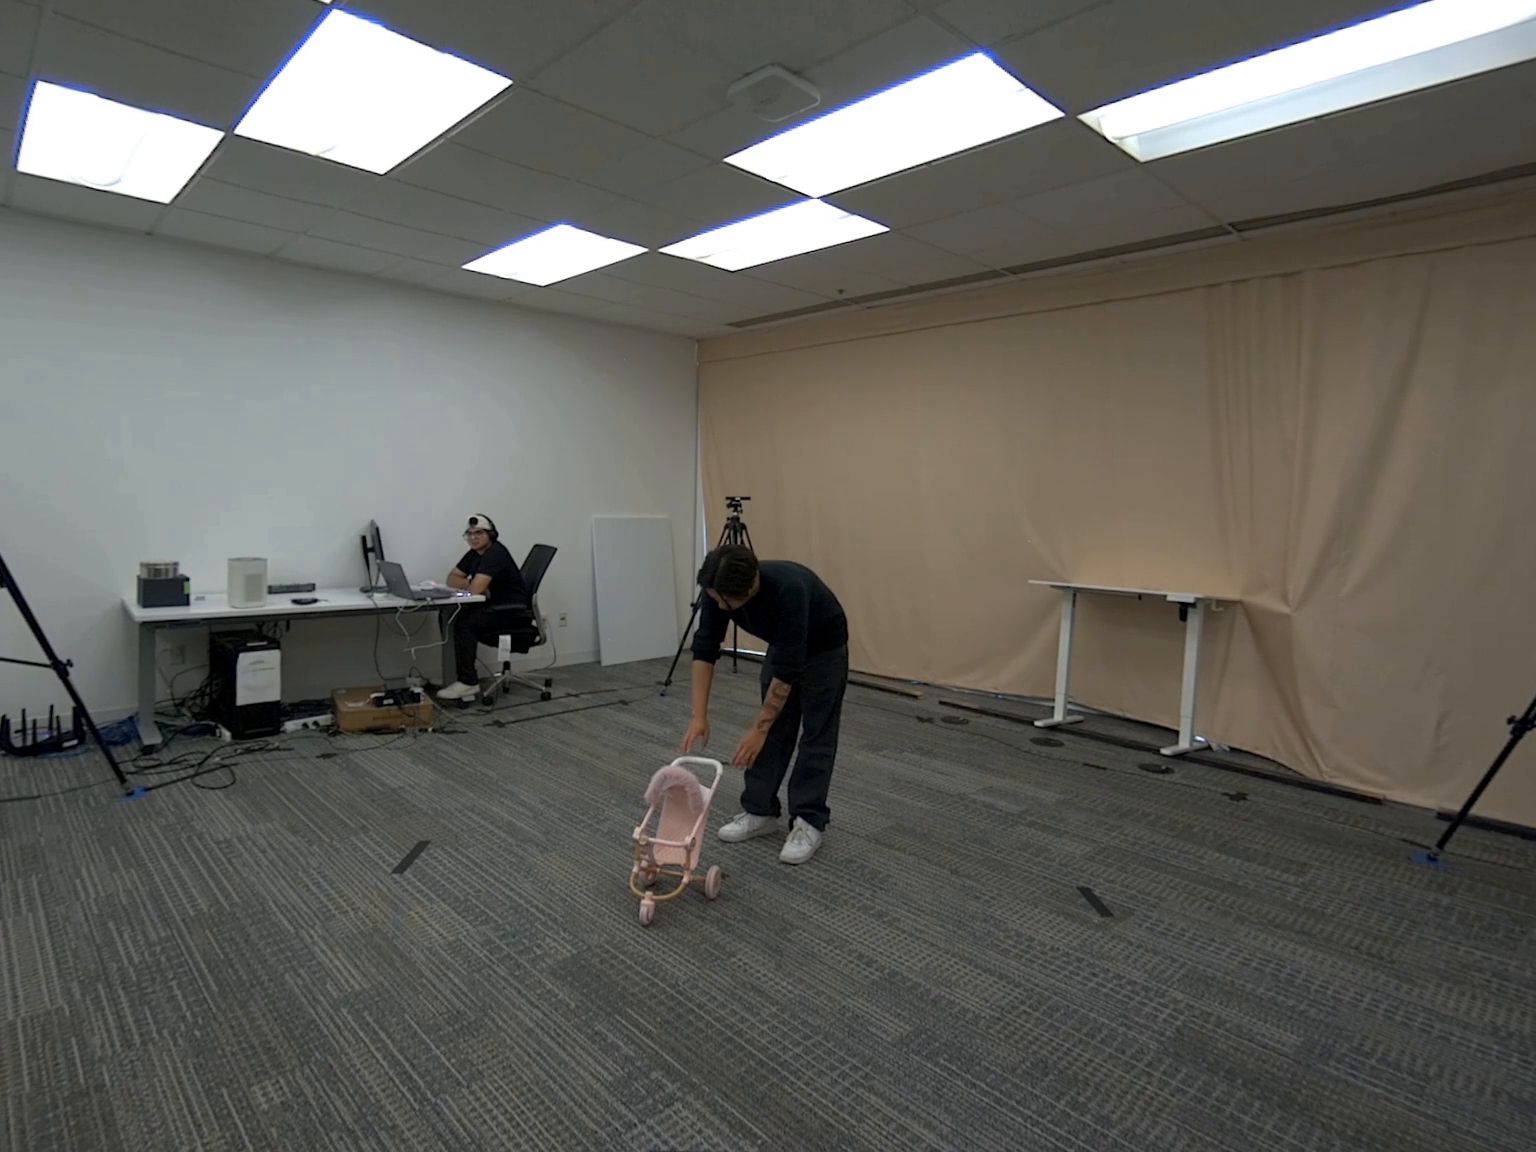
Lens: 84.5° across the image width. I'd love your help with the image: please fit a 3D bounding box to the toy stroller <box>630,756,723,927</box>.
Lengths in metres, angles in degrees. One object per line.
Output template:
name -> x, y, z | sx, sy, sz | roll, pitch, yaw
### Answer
toy stroller -> -0.335, 0.896, 2.906 | 0.287, 0.539, 0.332 | 2, -12, 24
